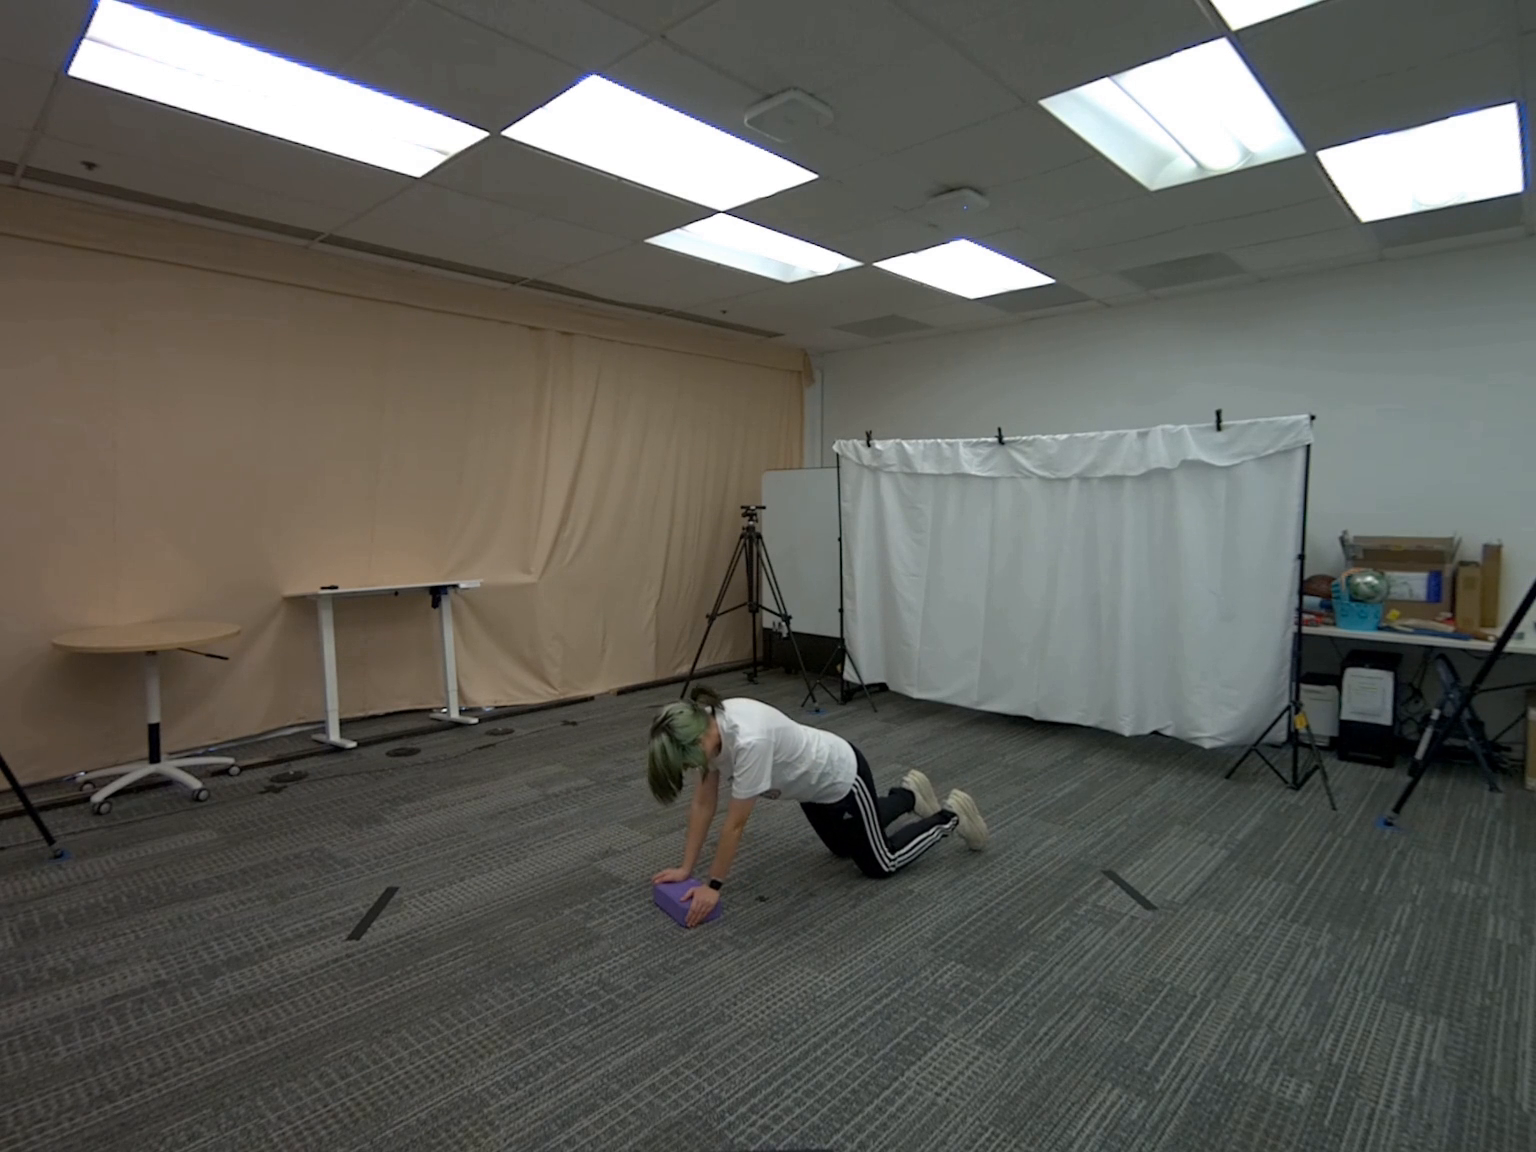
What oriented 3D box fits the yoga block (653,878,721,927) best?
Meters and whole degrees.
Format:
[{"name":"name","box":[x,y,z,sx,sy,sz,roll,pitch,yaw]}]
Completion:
[{"name":"yoga block","box":[-0.277,1.114,2.900,0.145,0.076,0.237,-4,7,-35]}]
